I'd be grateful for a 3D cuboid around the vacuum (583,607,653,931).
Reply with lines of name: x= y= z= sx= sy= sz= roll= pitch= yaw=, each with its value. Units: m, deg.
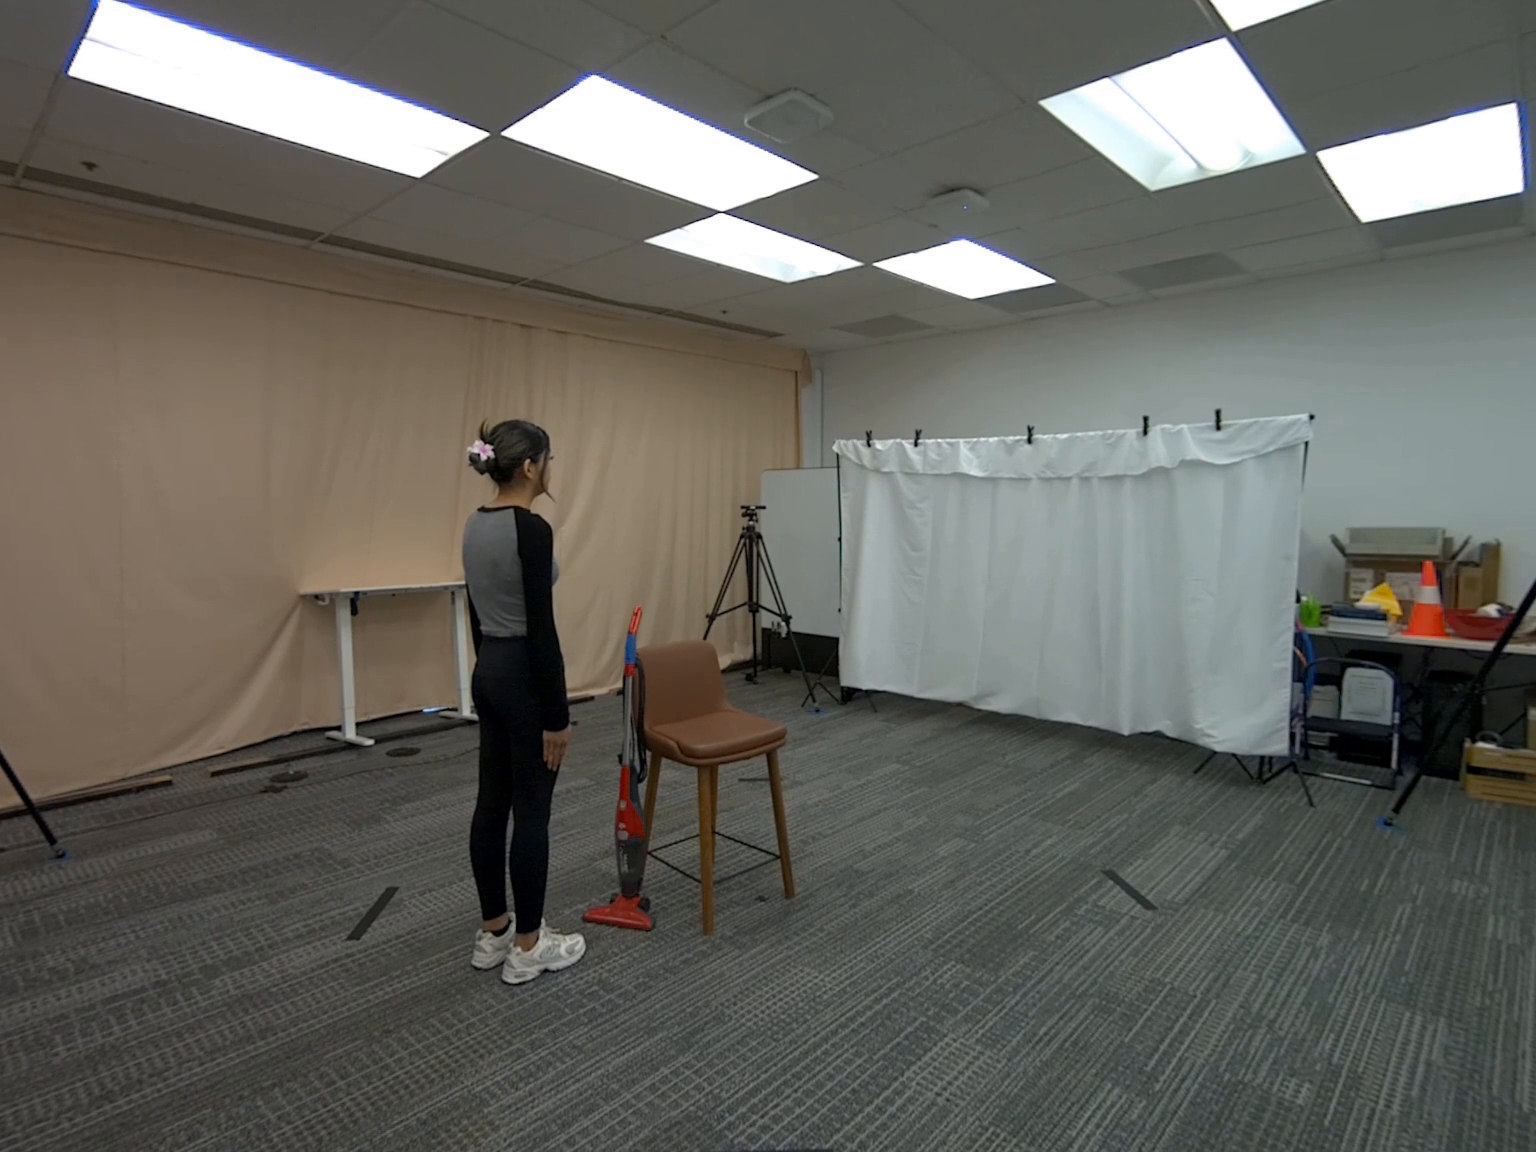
vacuum: x=-0.472 y=0.637 z=2.898 sx=0.245 sy=1.049 sz=0.148 roll=4 pitch=1 yaw=-33
